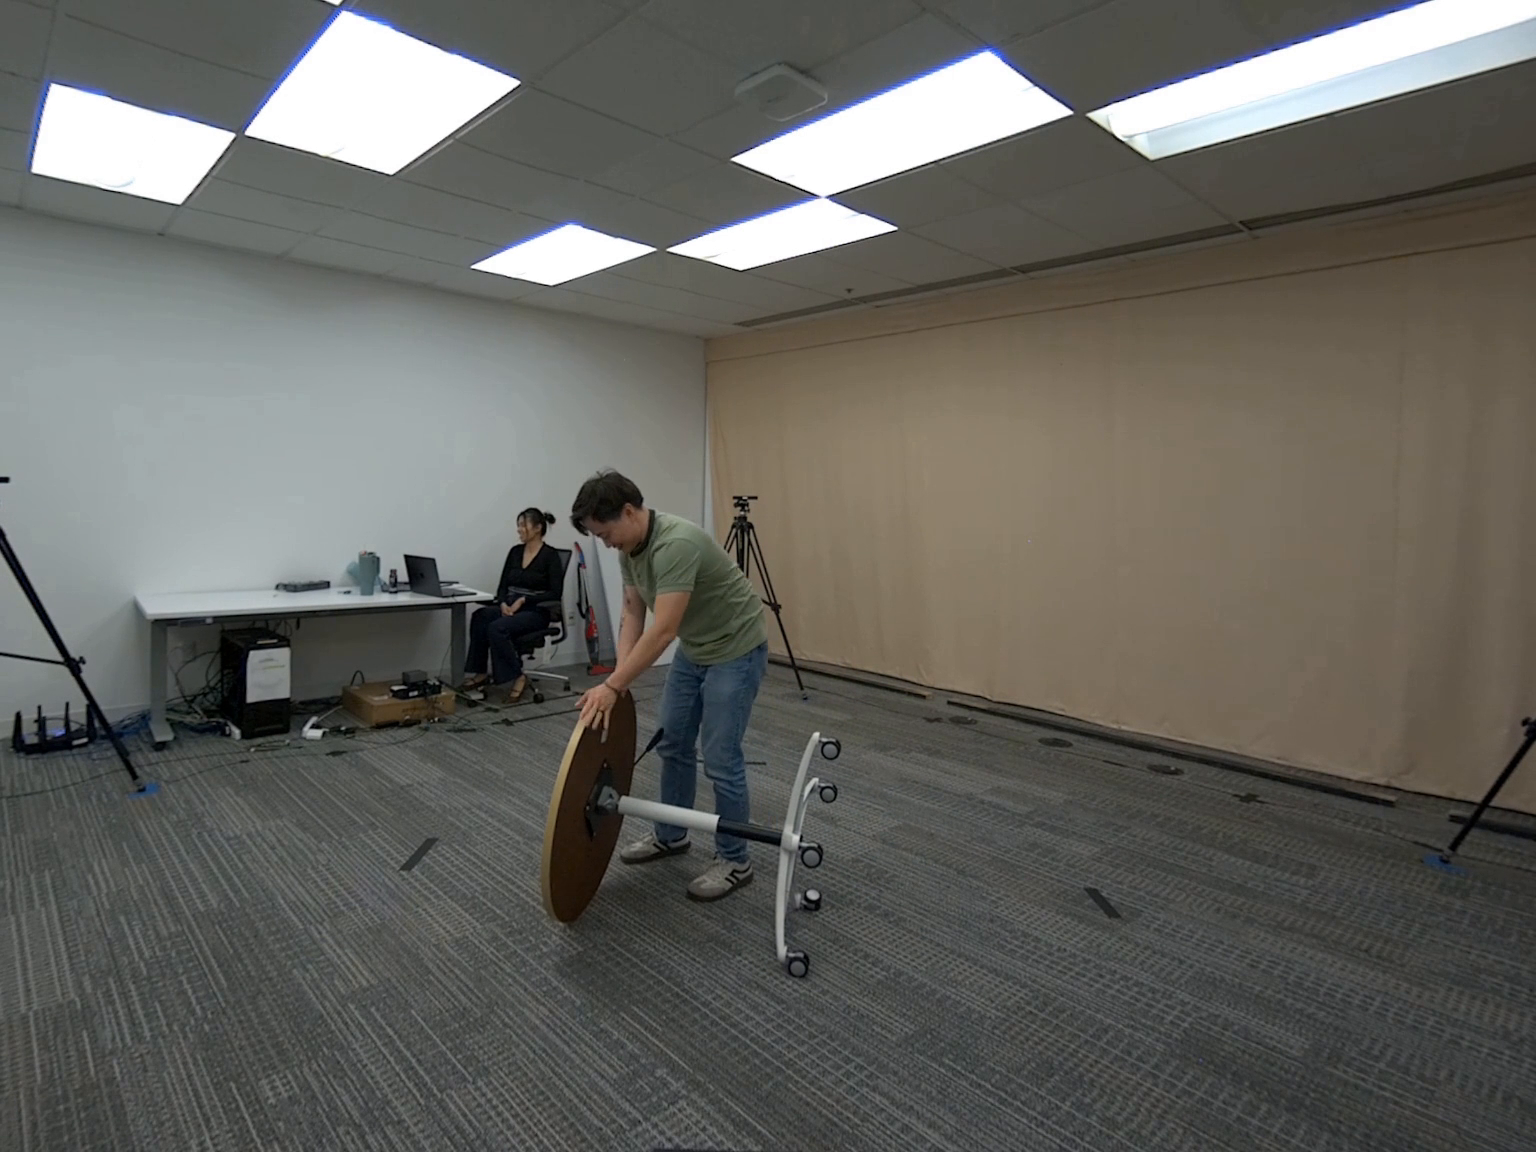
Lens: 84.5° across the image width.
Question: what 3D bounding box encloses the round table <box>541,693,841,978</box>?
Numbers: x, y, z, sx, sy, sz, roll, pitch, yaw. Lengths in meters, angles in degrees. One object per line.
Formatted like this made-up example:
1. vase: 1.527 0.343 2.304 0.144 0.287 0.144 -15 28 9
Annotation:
1. round table: -0.206 0.804 2.716 0.801 0.761 0.759 8 5 9
